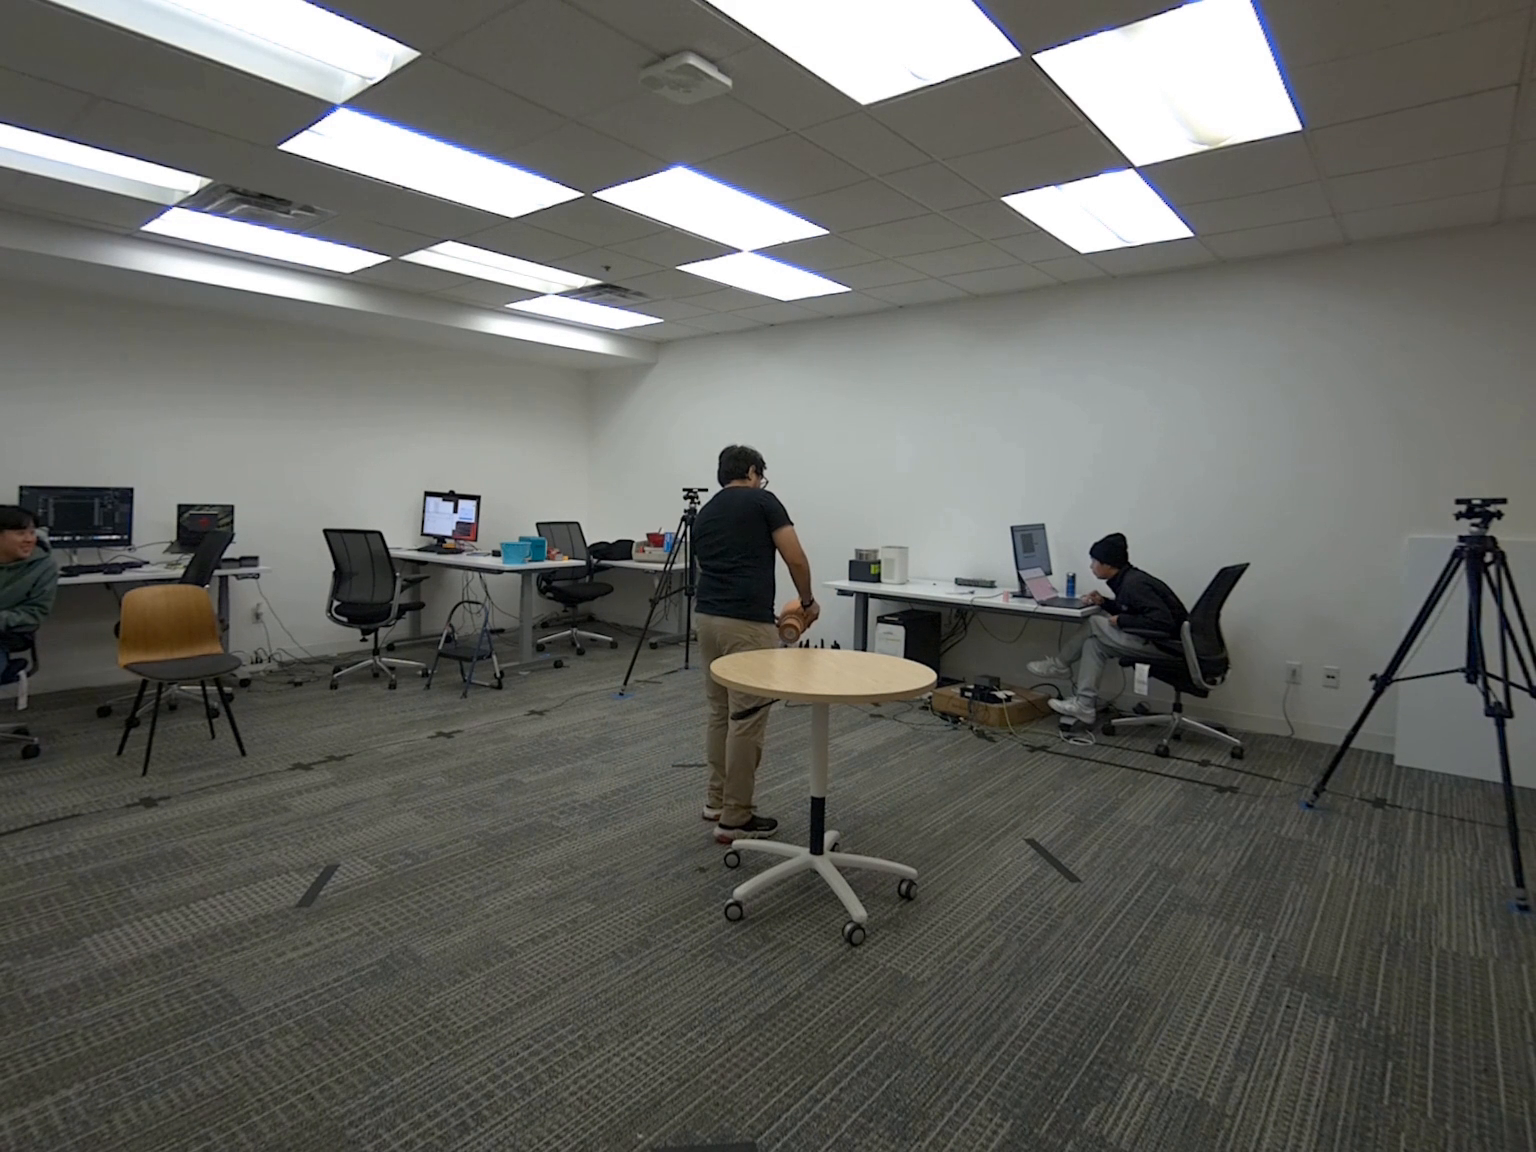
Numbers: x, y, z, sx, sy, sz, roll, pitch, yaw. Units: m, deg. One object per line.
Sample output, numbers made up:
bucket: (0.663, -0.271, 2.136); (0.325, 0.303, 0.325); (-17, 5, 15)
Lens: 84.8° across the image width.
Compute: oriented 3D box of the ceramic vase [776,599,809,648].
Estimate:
ceramic vase: (0.101, 0.206, 3.758); (0.135, 0.157, 0.221); (26, 23, -1)
